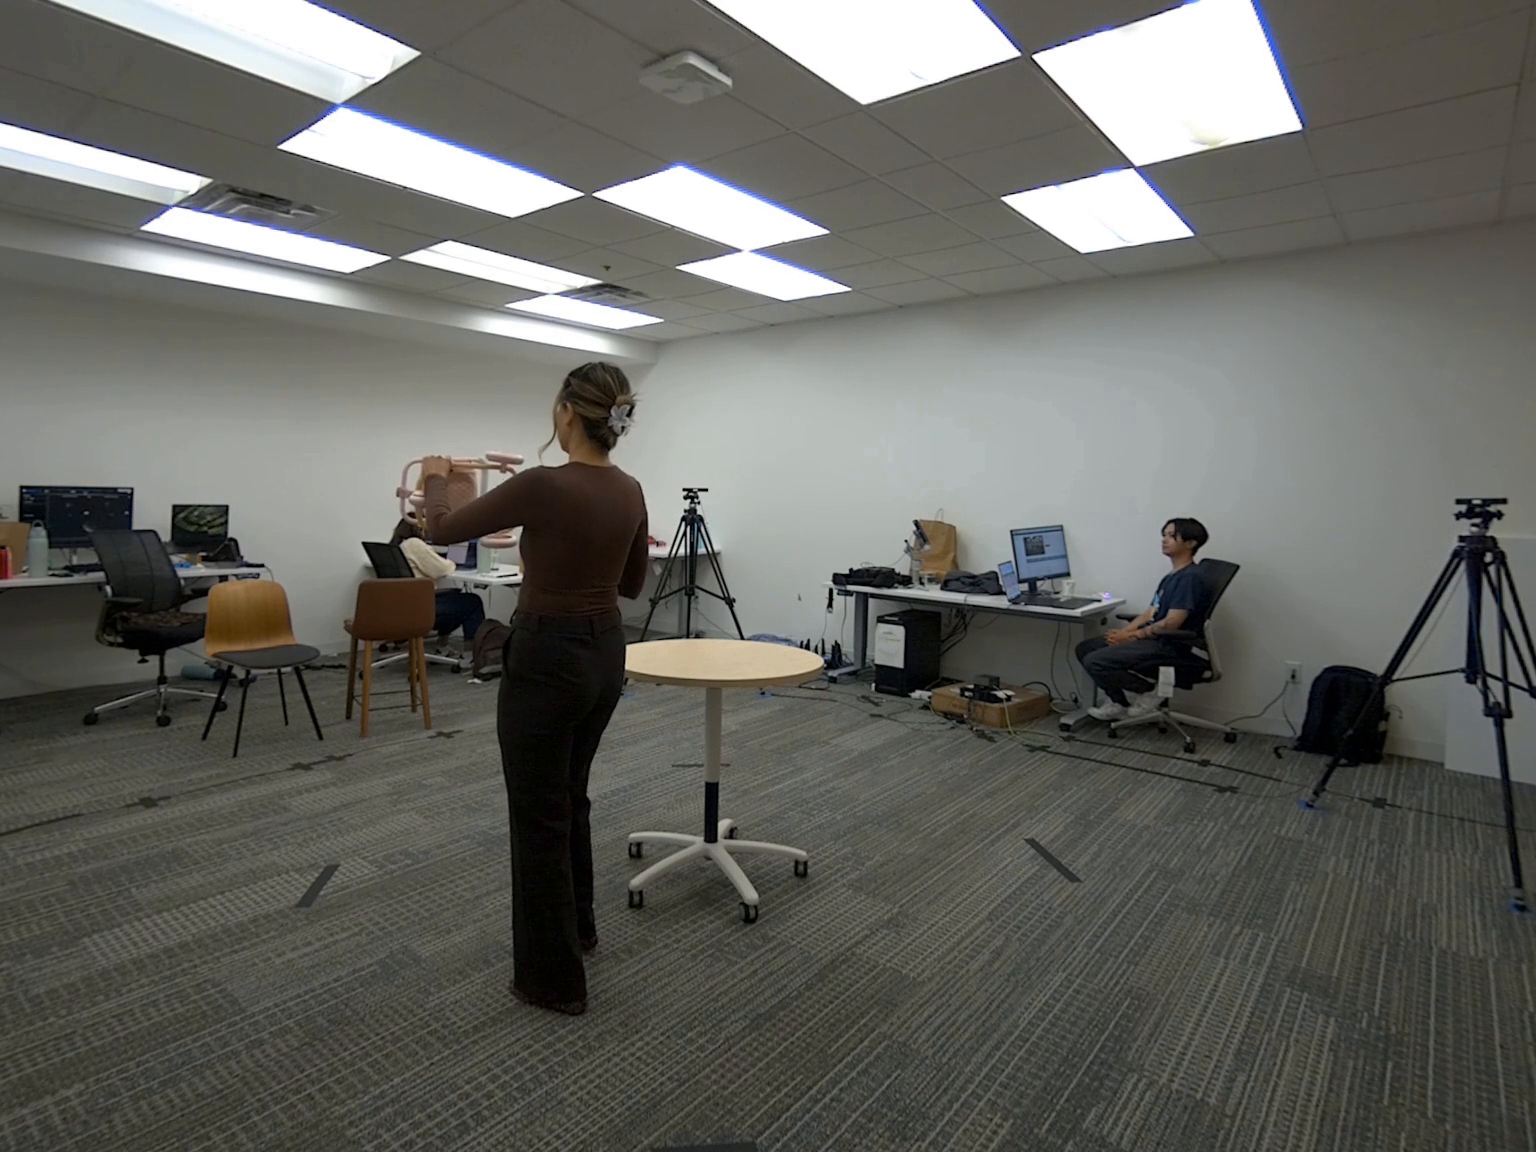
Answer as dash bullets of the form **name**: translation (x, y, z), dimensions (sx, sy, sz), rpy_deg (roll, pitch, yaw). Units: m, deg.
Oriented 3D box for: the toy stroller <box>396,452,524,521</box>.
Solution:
- **toy stroller**: translation (-0.967, -0.248, 2.586), dimensions (0.333, 0.279, 0.554), rpy_deg (-5, 13, -30)
